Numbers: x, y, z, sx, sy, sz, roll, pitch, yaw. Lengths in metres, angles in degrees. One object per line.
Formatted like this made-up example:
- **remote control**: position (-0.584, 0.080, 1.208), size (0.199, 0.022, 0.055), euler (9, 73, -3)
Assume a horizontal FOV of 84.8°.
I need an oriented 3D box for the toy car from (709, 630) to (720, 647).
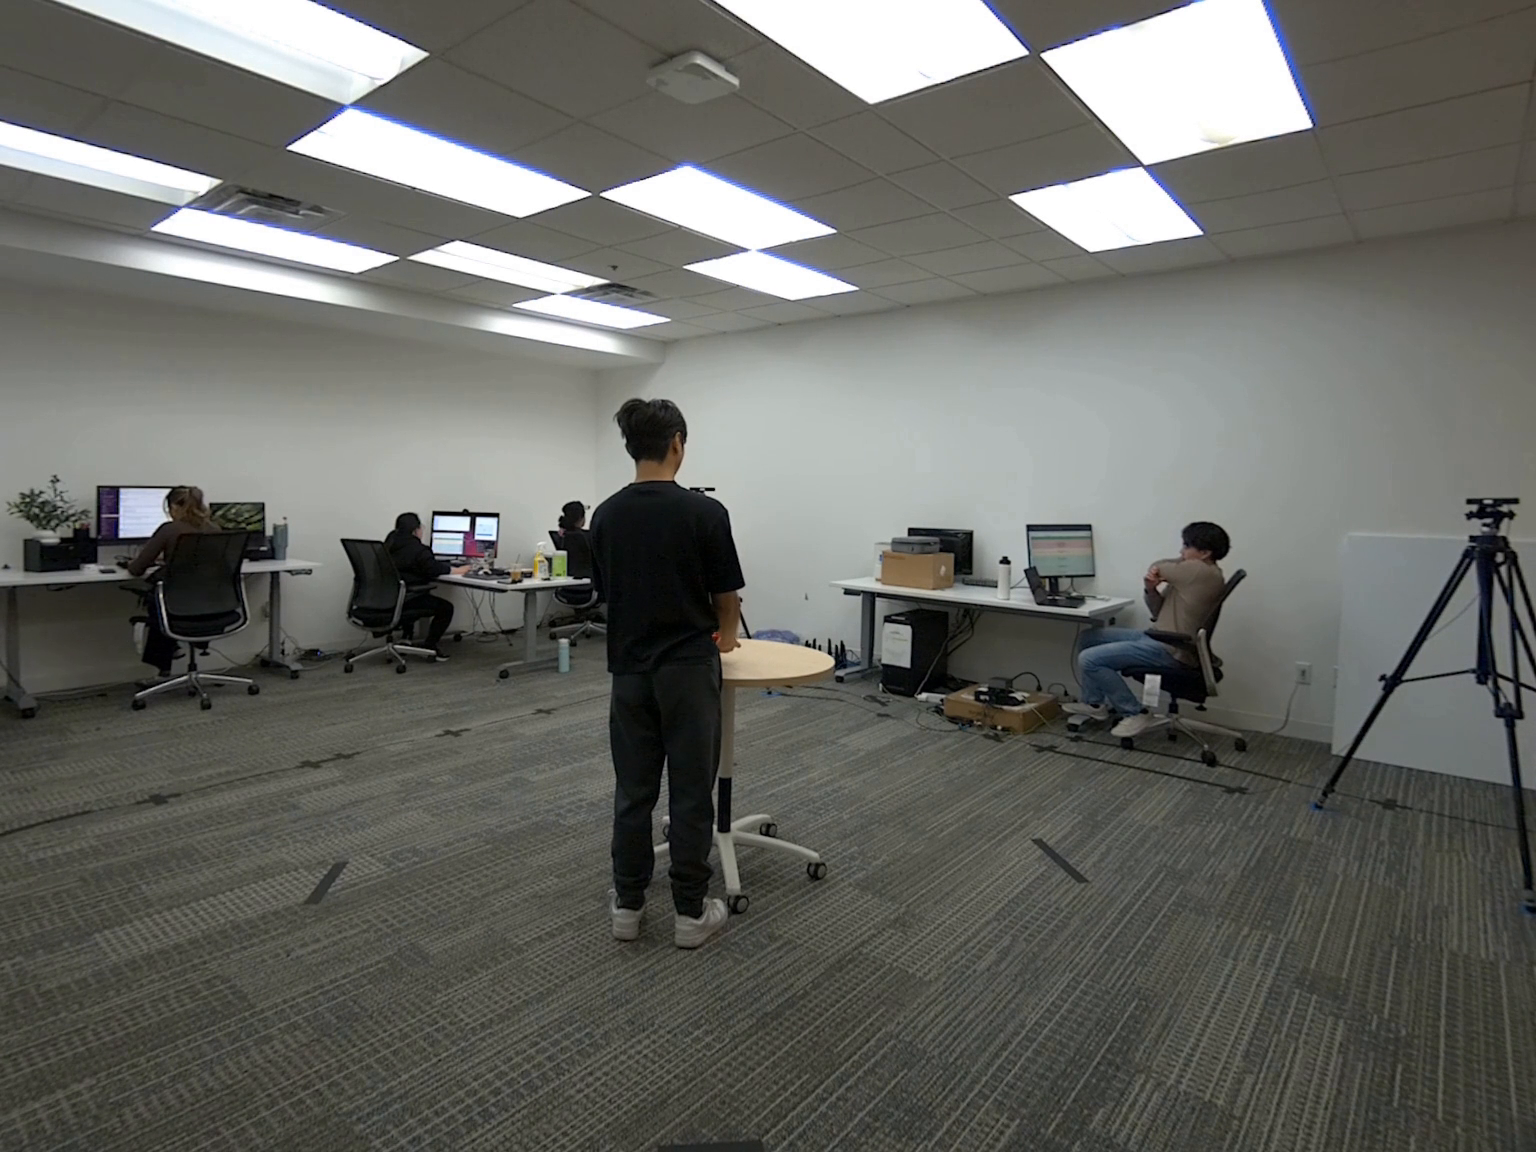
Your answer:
- **toy car**: position (-0.213, 0.215, 3.008), size (0.127, 0.084, 0.259), euler (3, -7, -25)
